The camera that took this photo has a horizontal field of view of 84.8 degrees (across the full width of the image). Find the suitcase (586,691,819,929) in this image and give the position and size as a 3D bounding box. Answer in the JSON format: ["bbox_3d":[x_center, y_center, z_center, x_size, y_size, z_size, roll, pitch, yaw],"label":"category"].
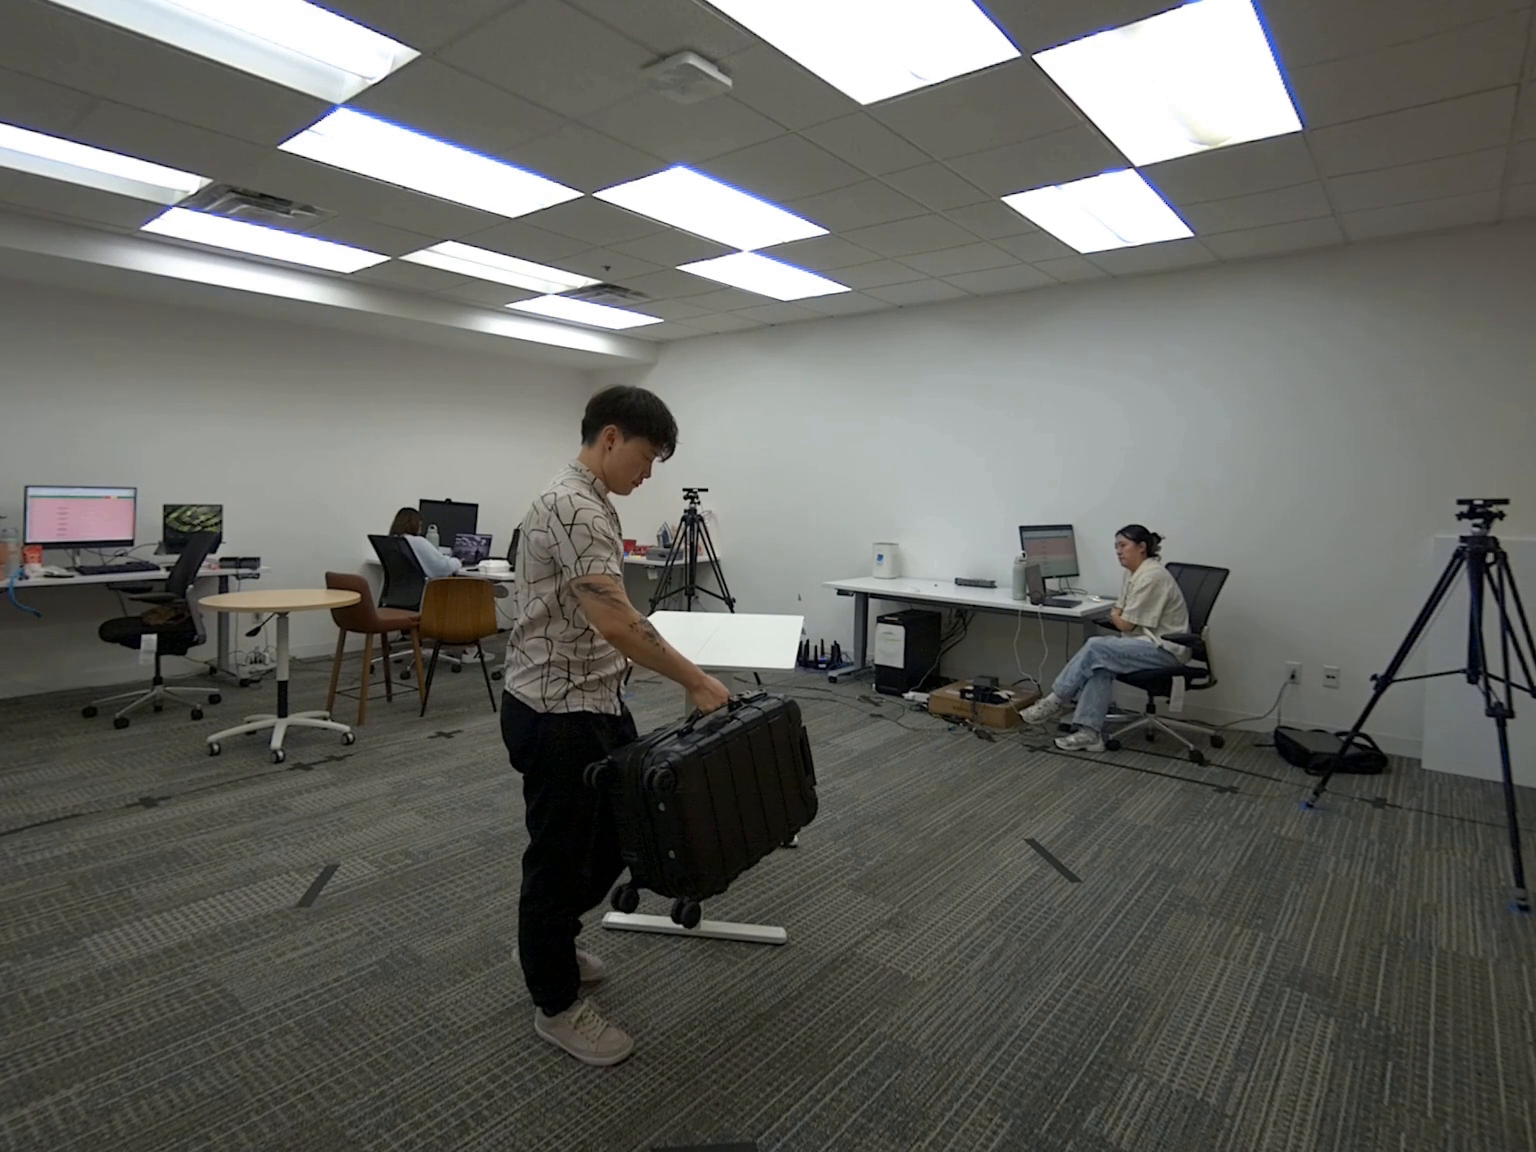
[{"bbox_3d":[-0.139,0.515,2.060,0.255,0.374,0.537,-10,5,41],"label":"suitcase"}]
